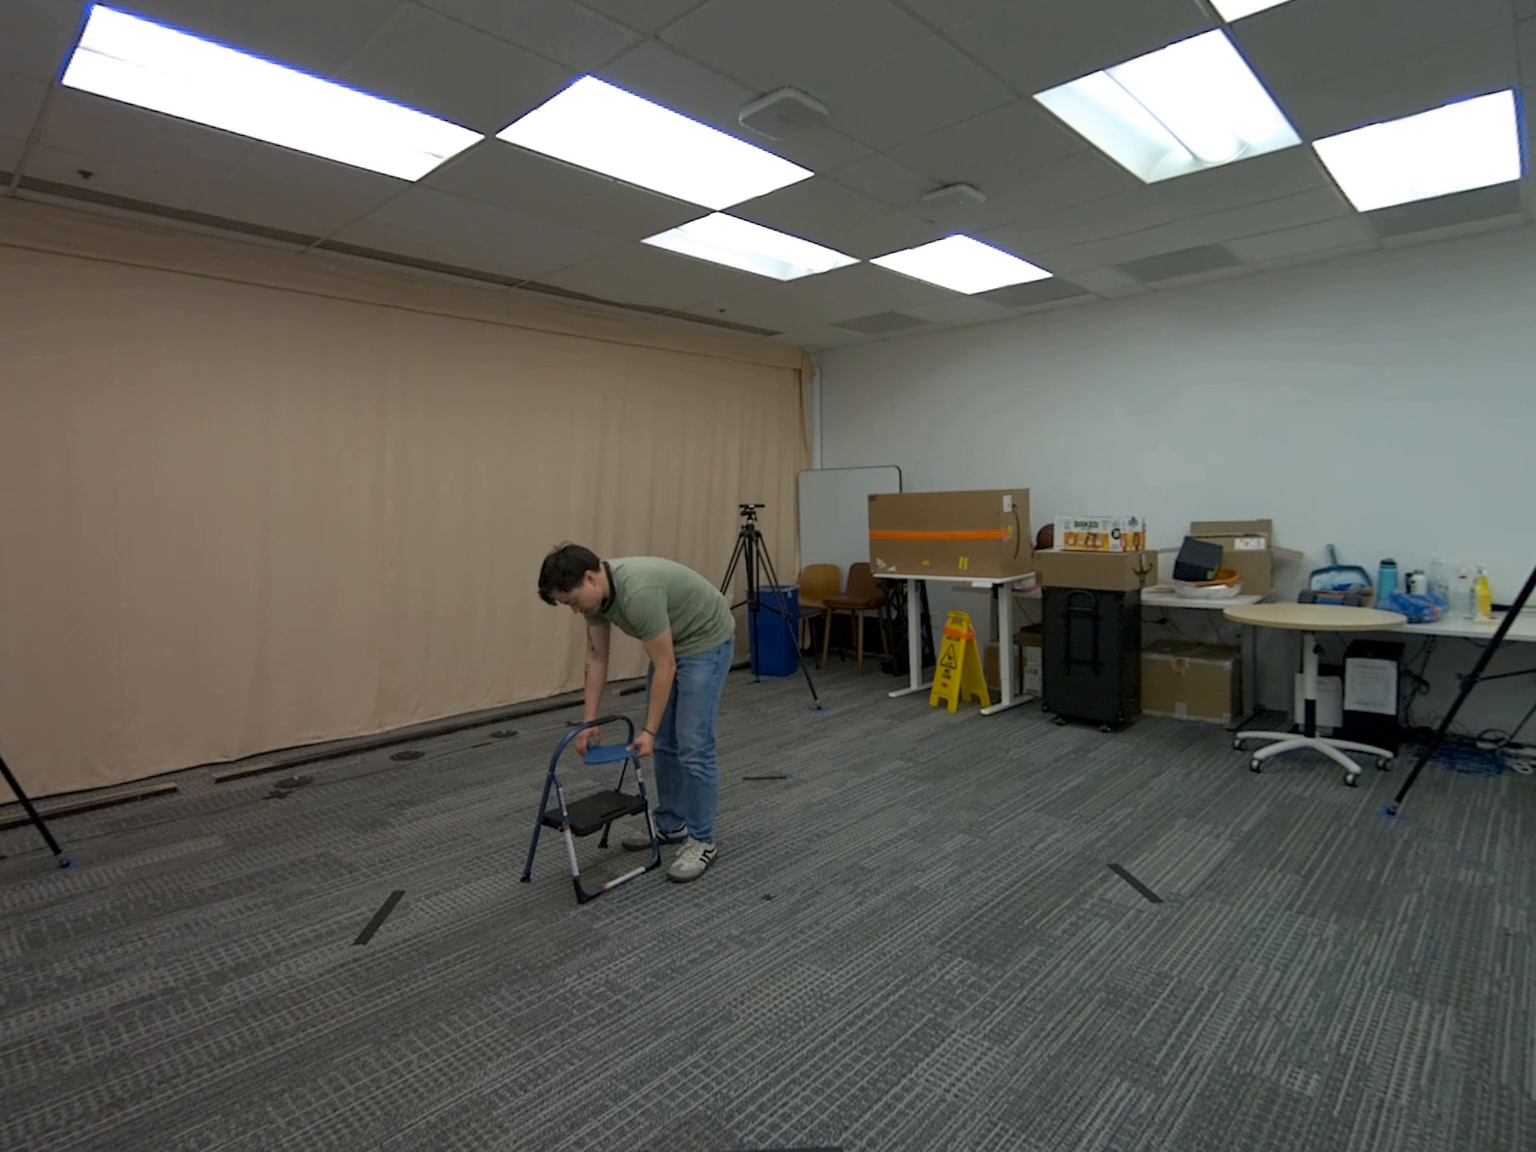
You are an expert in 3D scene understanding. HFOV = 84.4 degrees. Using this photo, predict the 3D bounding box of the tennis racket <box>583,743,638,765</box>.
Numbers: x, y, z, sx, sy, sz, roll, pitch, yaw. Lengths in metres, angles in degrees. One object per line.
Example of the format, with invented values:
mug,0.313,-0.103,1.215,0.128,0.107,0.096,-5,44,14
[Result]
tennis racket,-0.633,0.667,3.185,0.209,0.032,0.443,-15,4,-28
